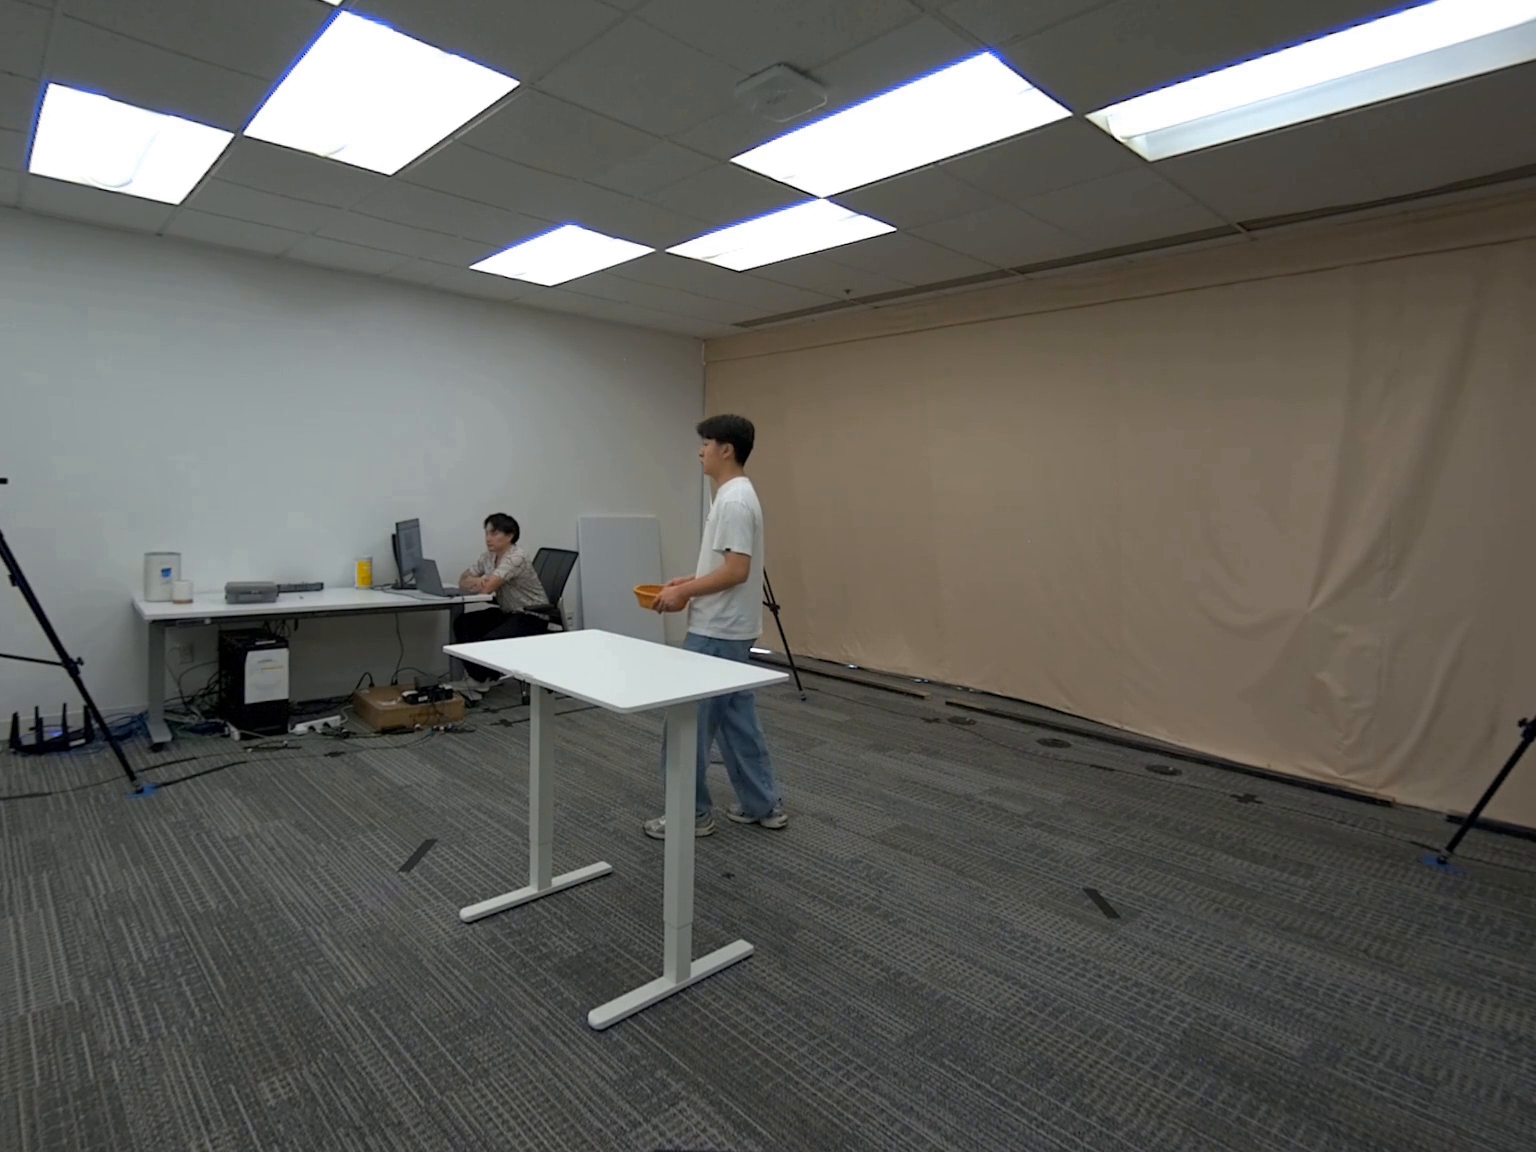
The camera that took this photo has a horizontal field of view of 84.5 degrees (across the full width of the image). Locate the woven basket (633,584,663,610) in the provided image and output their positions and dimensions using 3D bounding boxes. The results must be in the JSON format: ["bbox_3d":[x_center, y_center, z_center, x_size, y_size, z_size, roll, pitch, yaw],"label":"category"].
[{"bbox_3d":[-0.420,0.096,3.533,0.254,0.073,0.348,8,6,8],"label":"woven basket"}]
